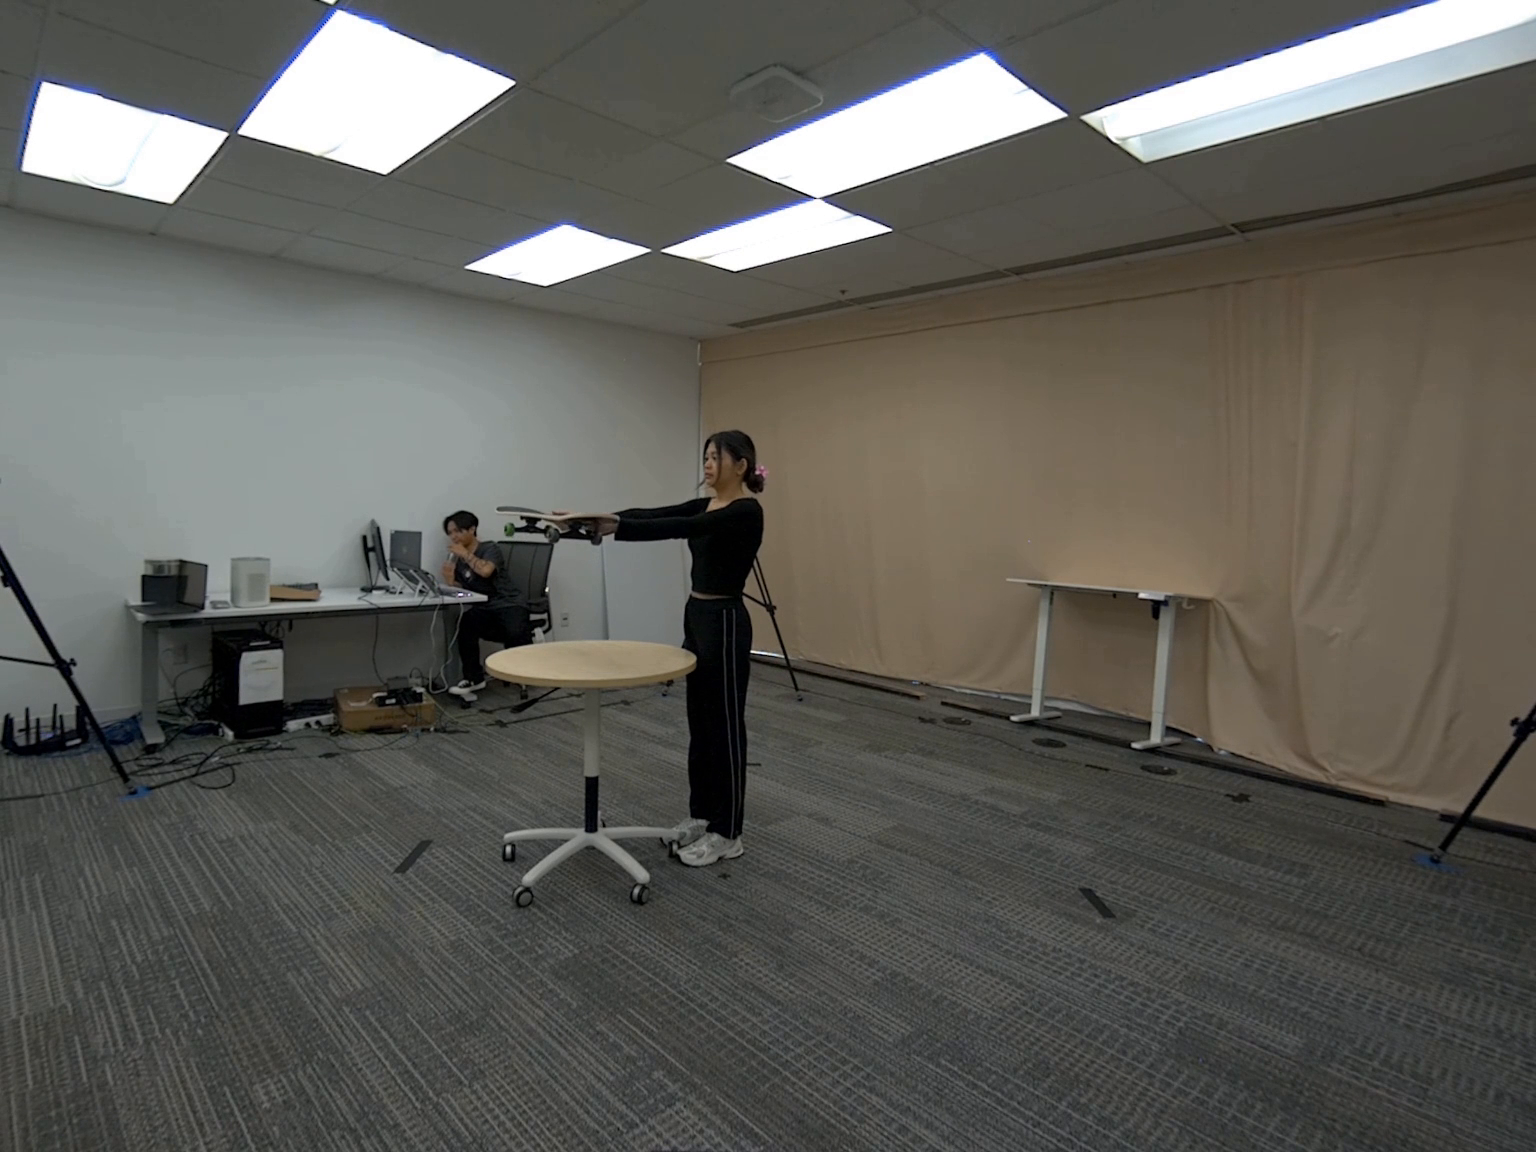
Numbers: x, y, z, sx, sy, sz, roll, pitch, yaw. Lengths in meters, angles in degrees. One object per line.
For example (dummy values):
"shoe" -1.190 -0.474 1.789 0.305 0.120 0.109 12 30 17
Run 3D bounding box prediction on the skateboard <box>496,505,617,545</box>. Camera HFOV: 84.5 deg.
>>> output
"skateboard" -0.759 -0.175 2.936 0.189 0.110 0.805 1 5 -36
